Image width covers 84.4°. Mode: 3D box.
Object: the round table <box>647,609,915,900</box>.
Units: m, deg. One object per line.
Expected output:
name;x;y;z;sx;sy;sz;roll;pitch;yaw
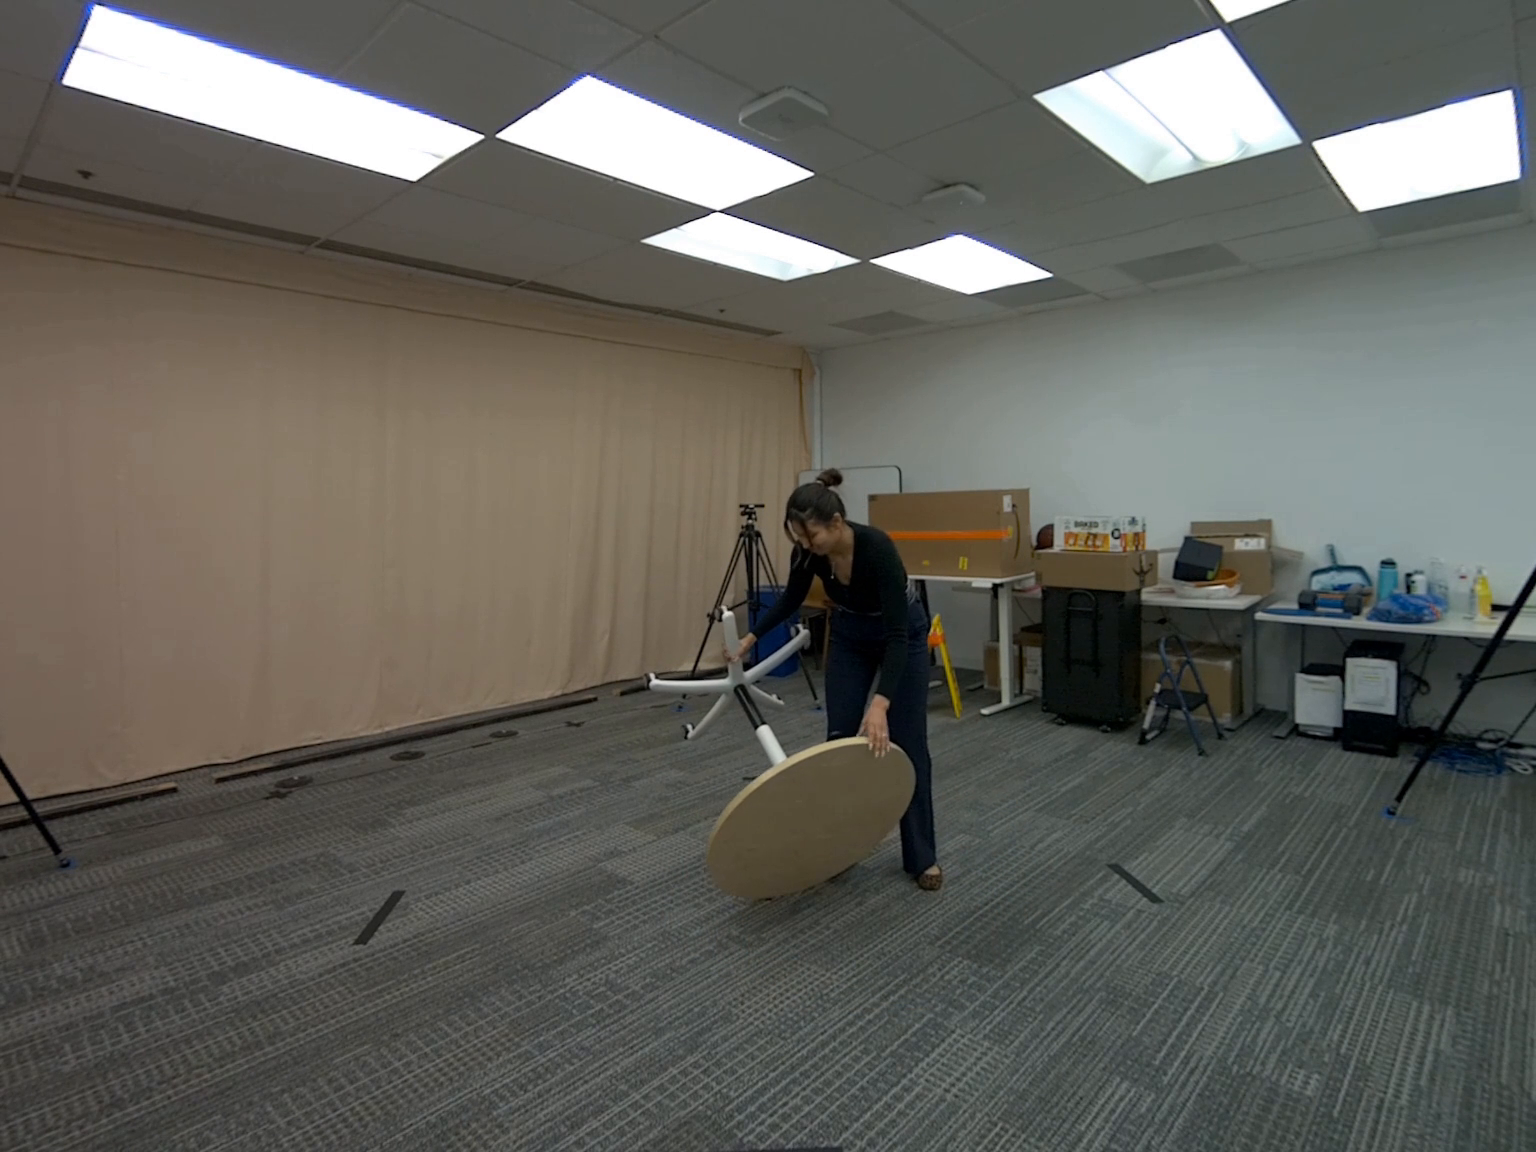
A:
round table;-0.008;0.594;3.099;0.745;0.757;0.821;-3;37;-27
